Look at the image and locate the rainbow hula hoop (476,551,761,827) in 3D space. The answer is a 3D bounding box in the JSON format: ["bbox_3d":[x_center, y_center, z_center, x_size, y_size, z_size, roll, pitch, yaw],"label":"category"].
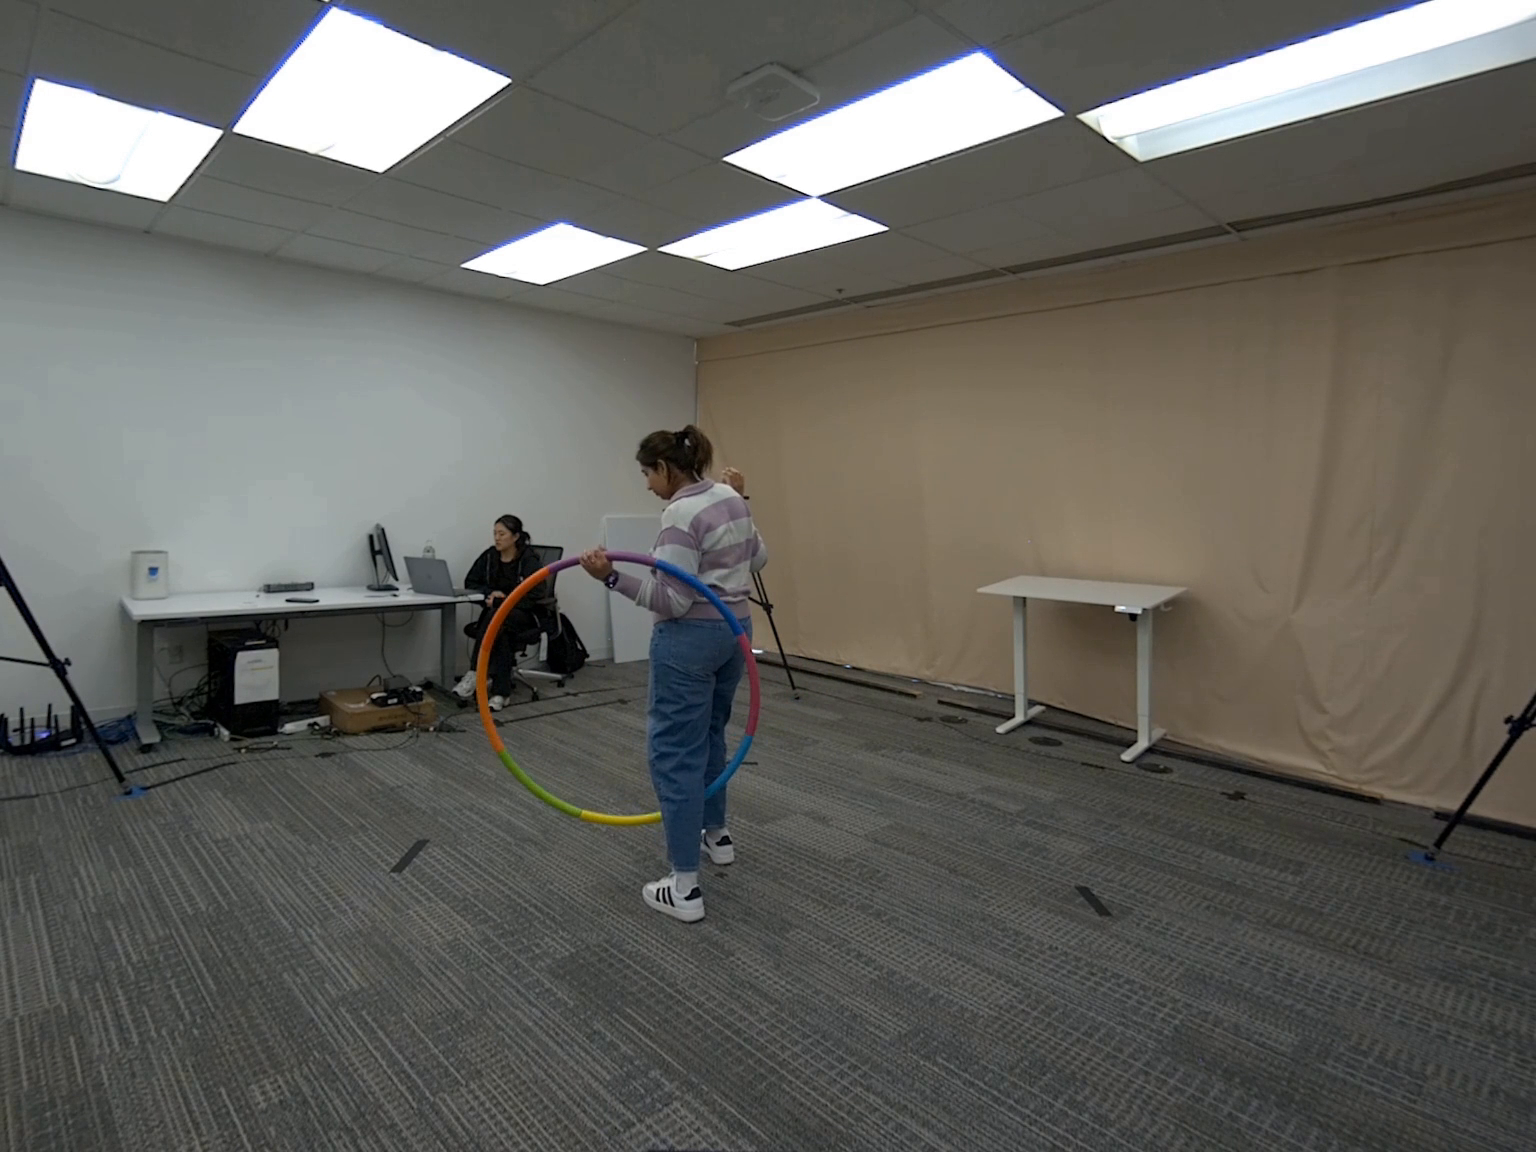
[{"bbox_3d":[-0.523,0.391,2.893,0.989,0.977,0.052,2,11,4],"label":"rainbow hula hoop"}]
